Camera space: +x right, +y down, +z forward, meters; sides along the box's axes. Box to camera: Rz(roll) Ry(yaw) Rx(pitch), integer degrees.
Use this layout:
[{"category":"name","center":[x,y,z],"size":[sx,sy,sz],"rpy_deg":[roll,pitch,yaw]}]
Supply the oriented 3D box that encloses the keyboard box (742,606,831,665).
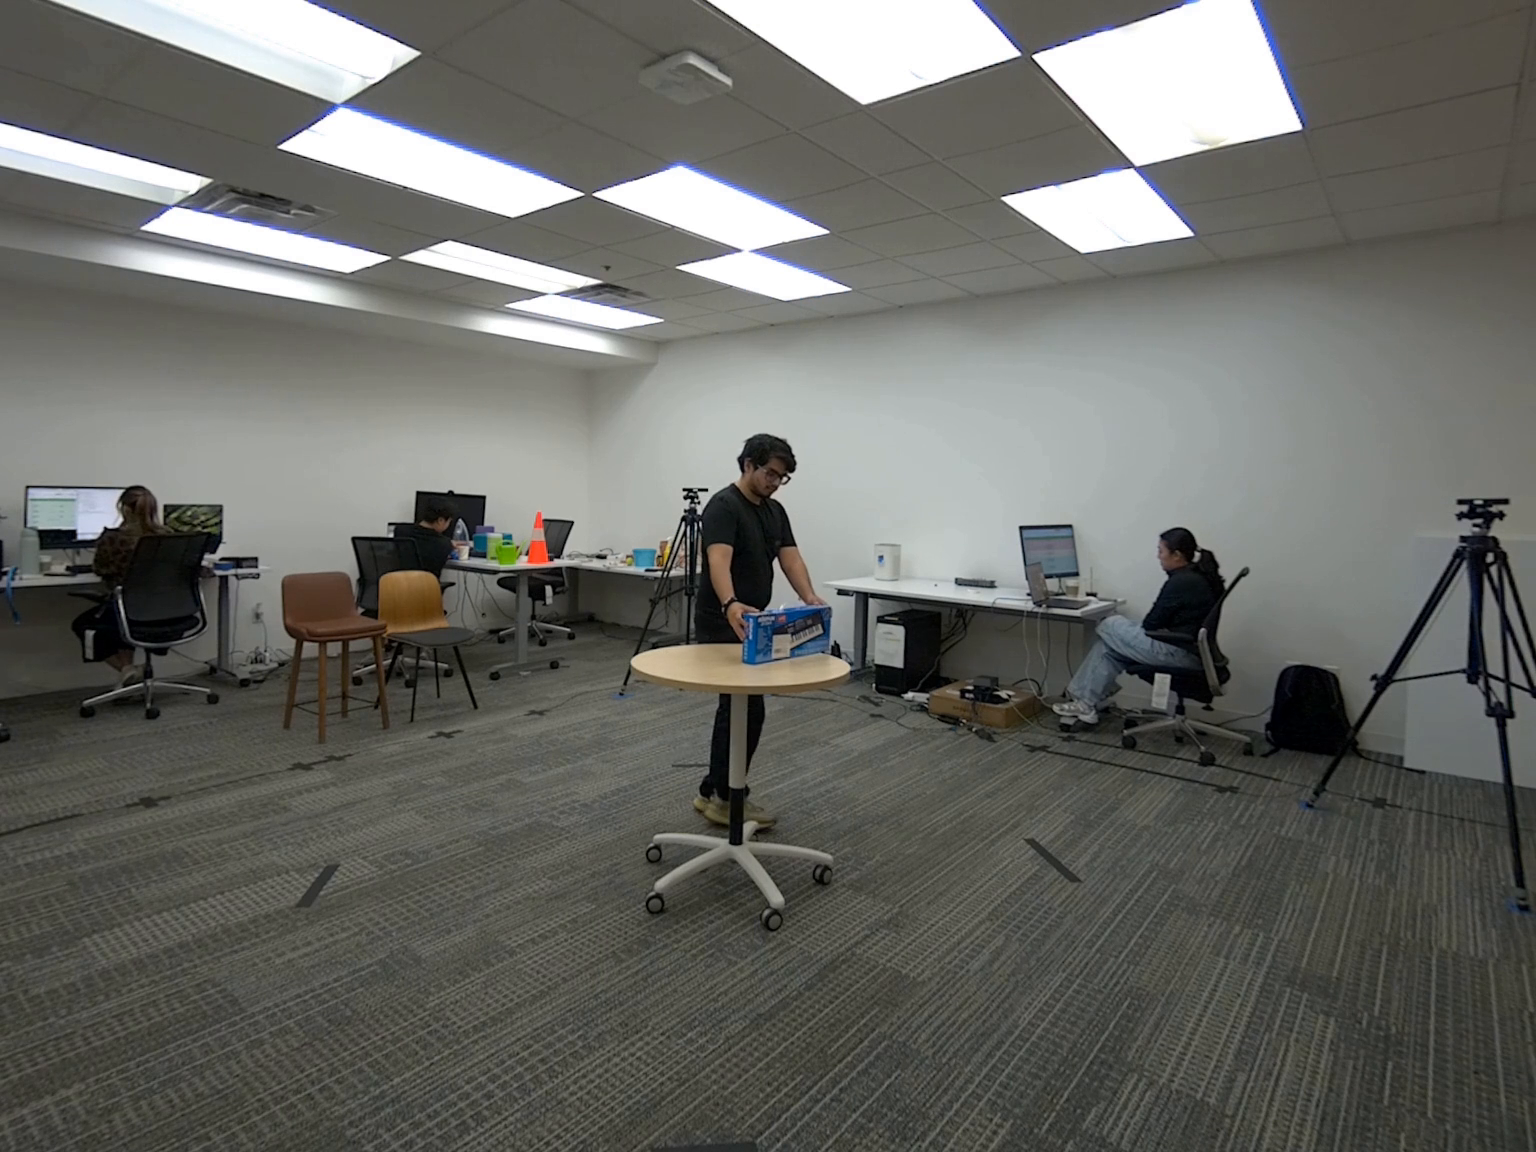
[{"category":"keyboard box","center":[0.067,0.208,3.108],"size":[0.061,0.175,0.424],"rpy_deg":[4,5,42]}]
